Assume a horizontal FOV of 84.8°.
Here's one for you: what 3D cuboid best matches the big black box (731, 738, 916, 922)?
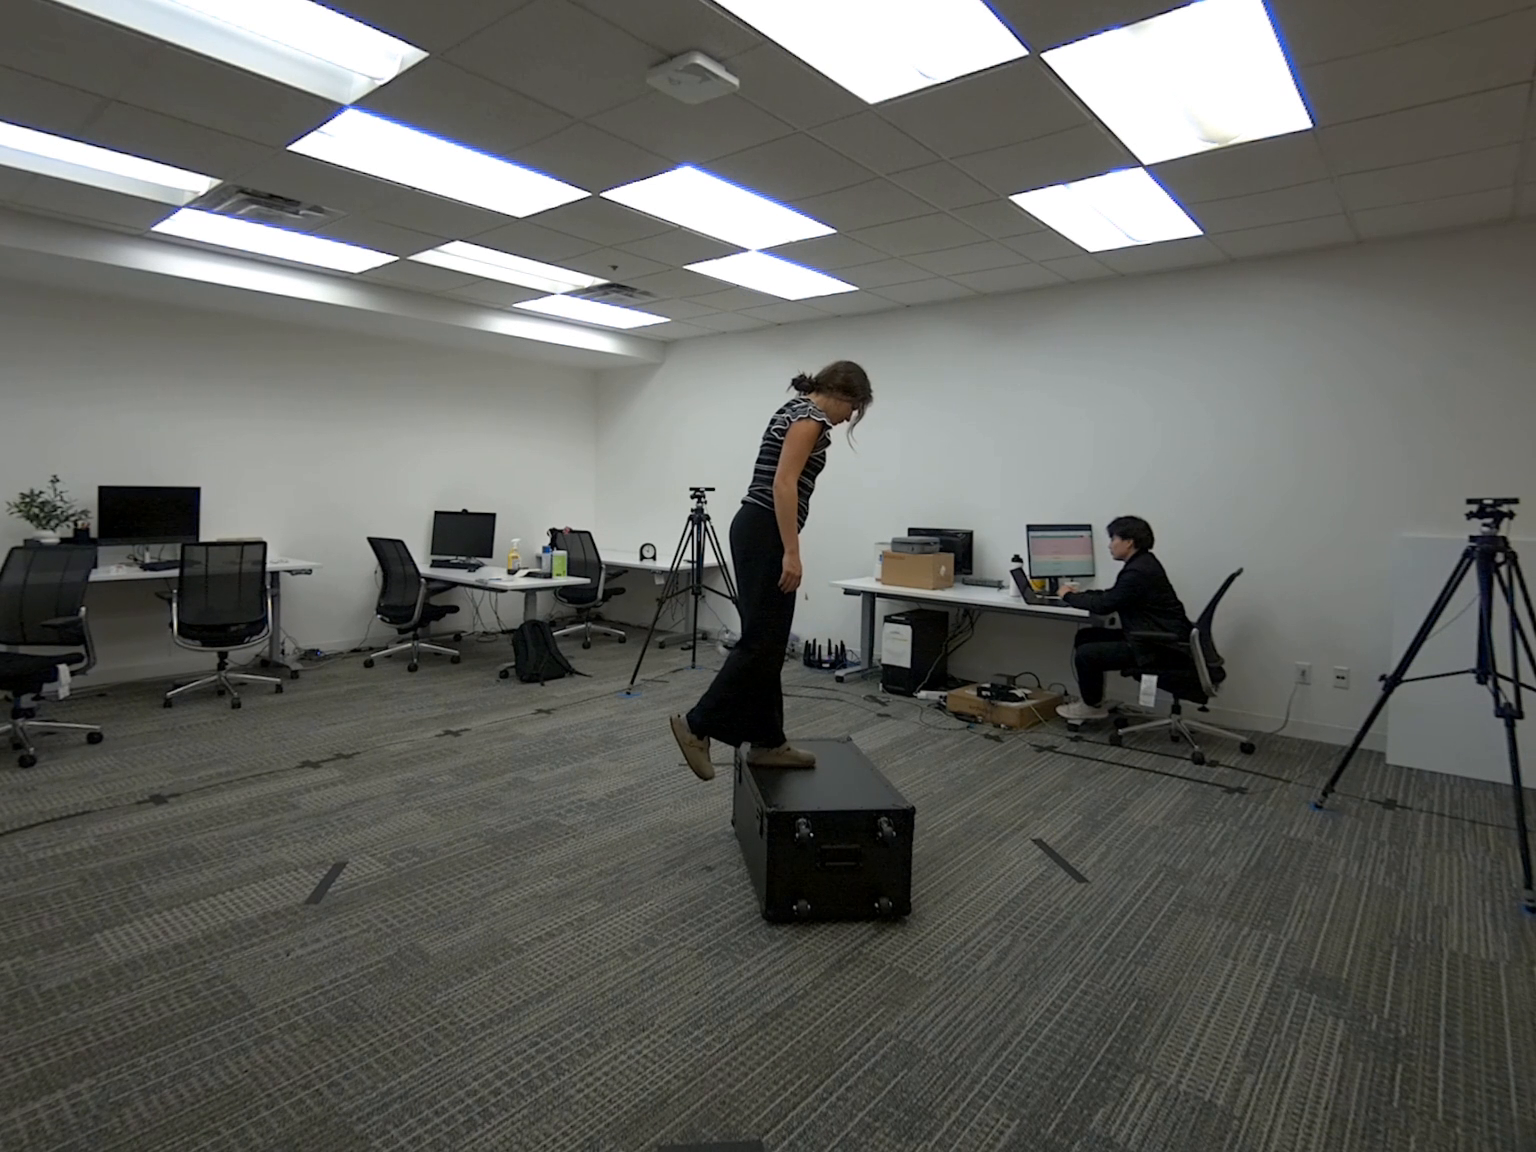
[{"bbox_3d":[0.160,0.886,3.066,0.516,0.395,0.873,0,5,-10],"label":"big black box"}]
